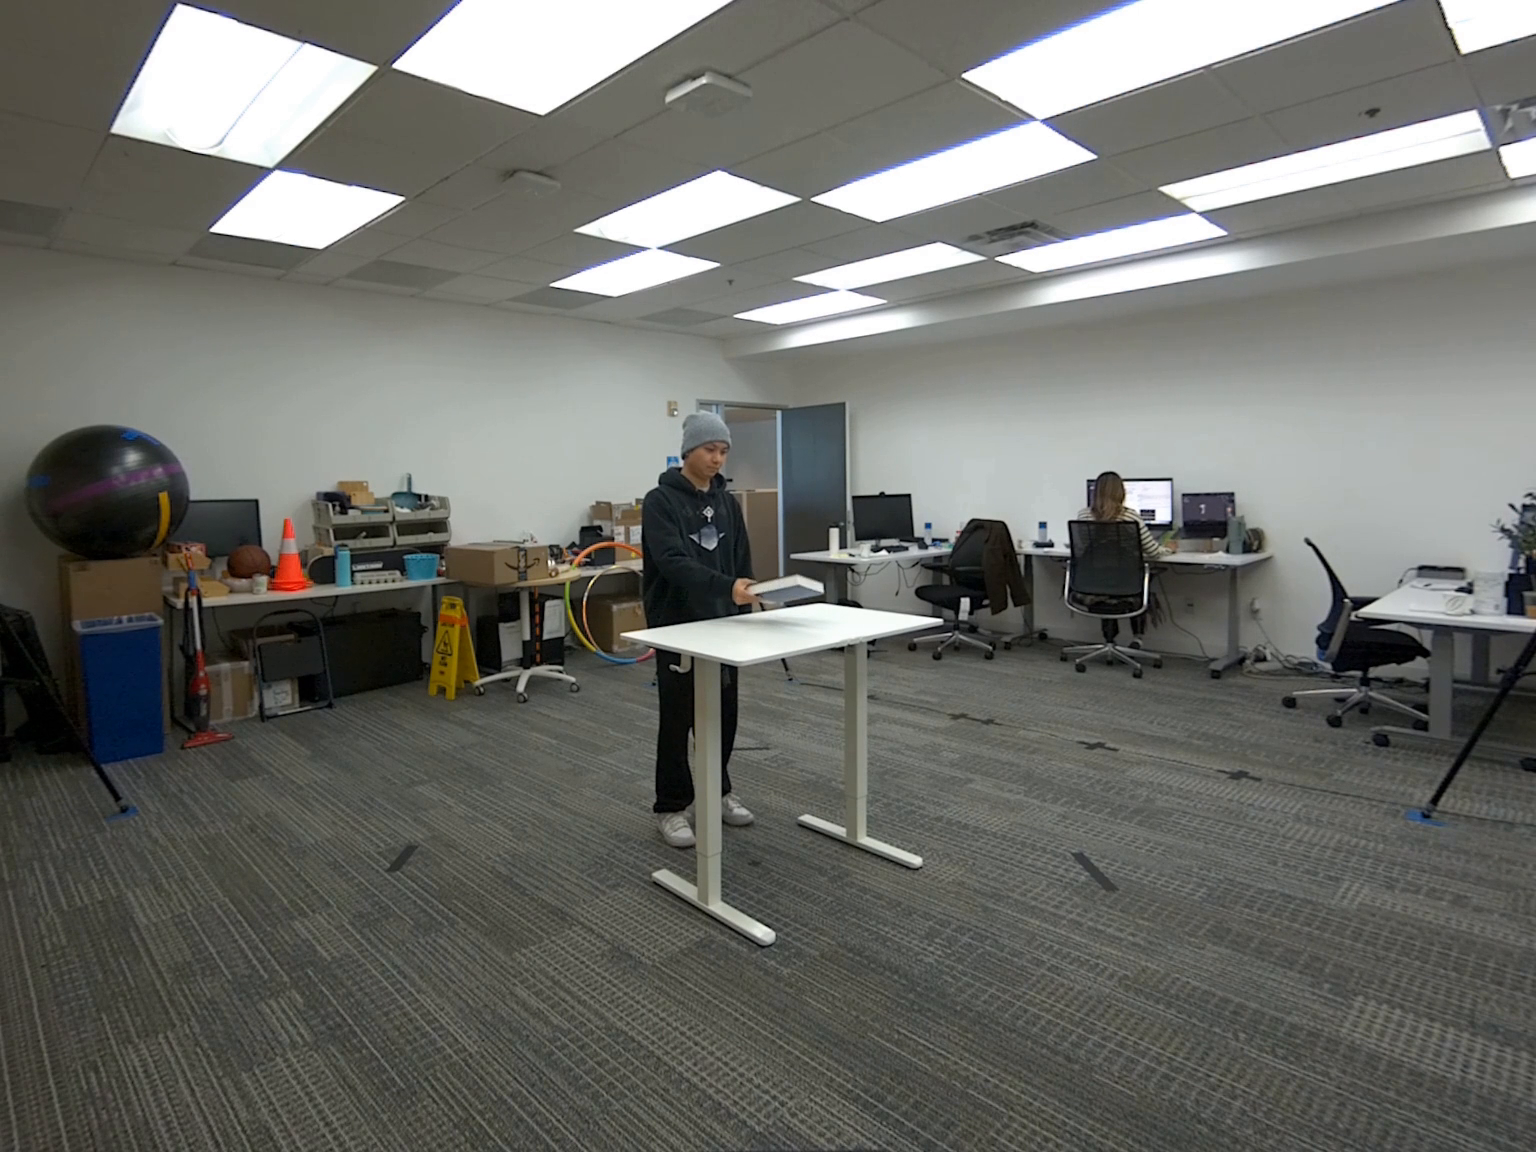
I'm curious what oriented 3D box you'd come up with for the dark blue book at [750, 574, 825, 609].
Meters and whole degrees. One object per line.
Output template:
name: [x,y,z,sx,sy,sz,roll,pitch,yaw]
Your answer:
dark blue book: [0.054,0.050,3.026,0.250,0.046,0.157,-14,-19,38]
